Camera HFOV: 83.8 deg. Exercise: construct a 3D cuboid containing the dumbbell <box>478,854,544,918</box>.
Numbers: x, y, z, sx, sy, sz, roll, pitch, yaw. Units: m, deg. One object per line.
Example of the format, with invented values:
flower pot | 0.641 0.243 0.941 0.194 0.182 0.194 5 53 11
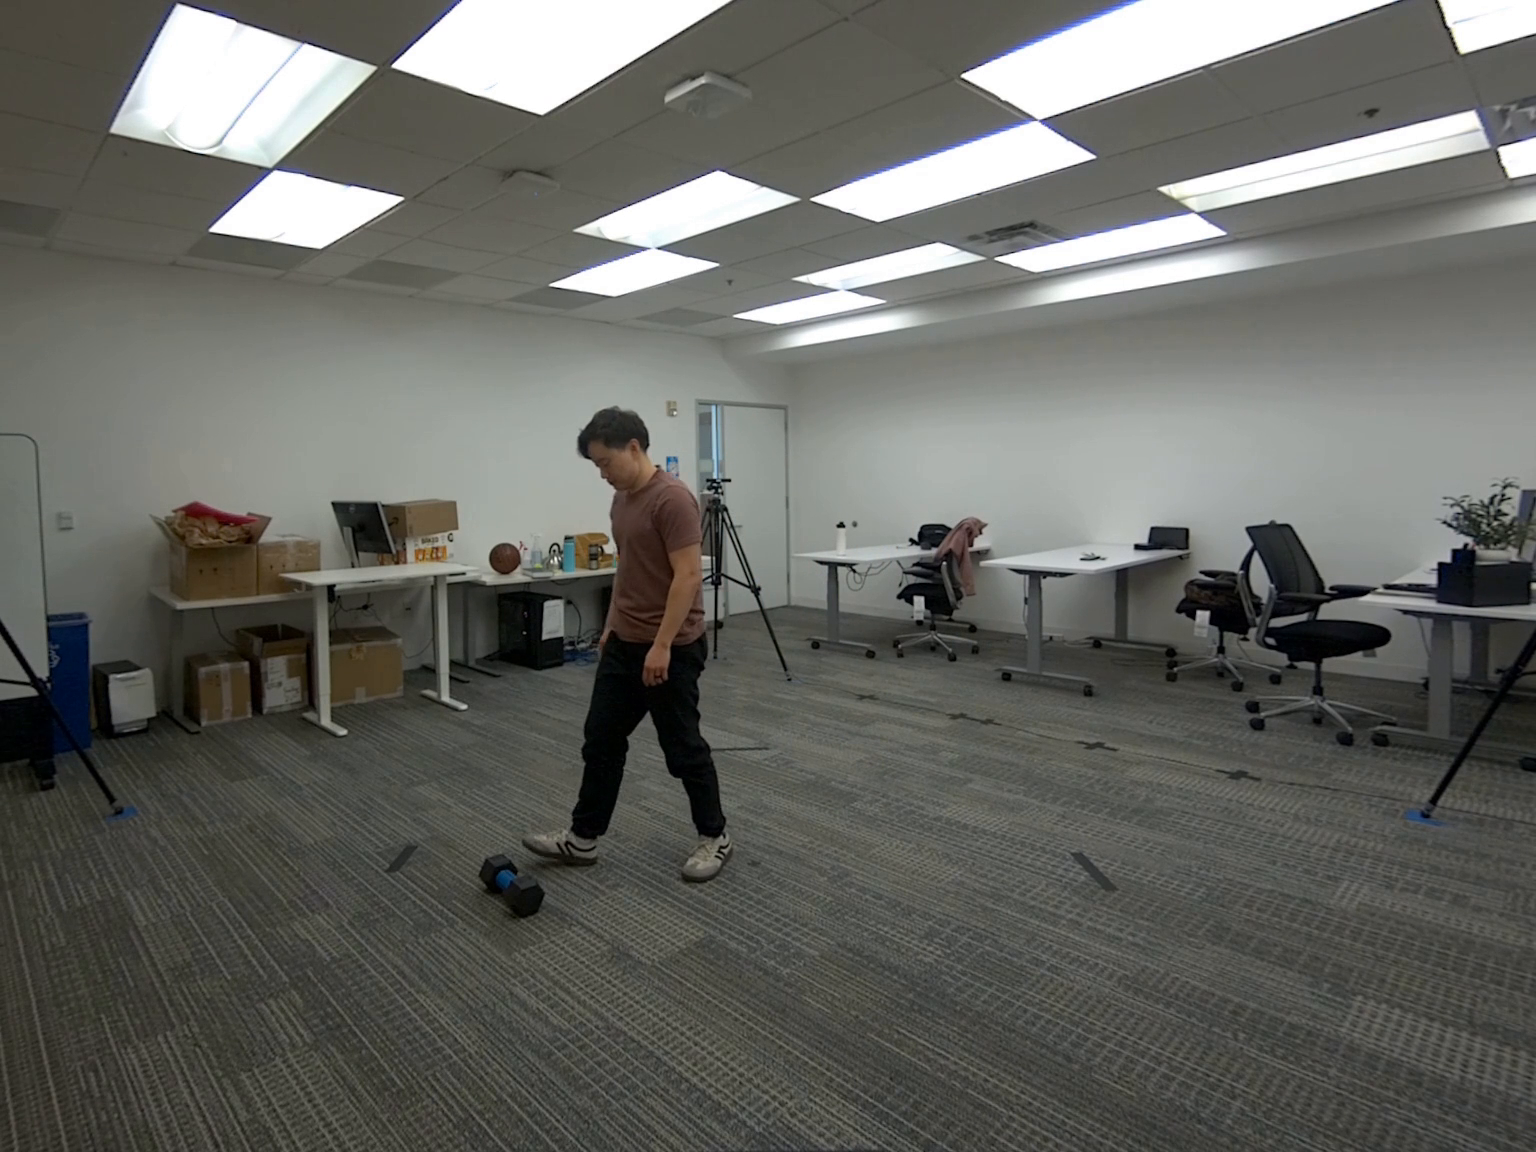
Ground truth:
dumbbell | -0.858 1.035 2.866 0.120 0.108 0.302 -6 7 -39
